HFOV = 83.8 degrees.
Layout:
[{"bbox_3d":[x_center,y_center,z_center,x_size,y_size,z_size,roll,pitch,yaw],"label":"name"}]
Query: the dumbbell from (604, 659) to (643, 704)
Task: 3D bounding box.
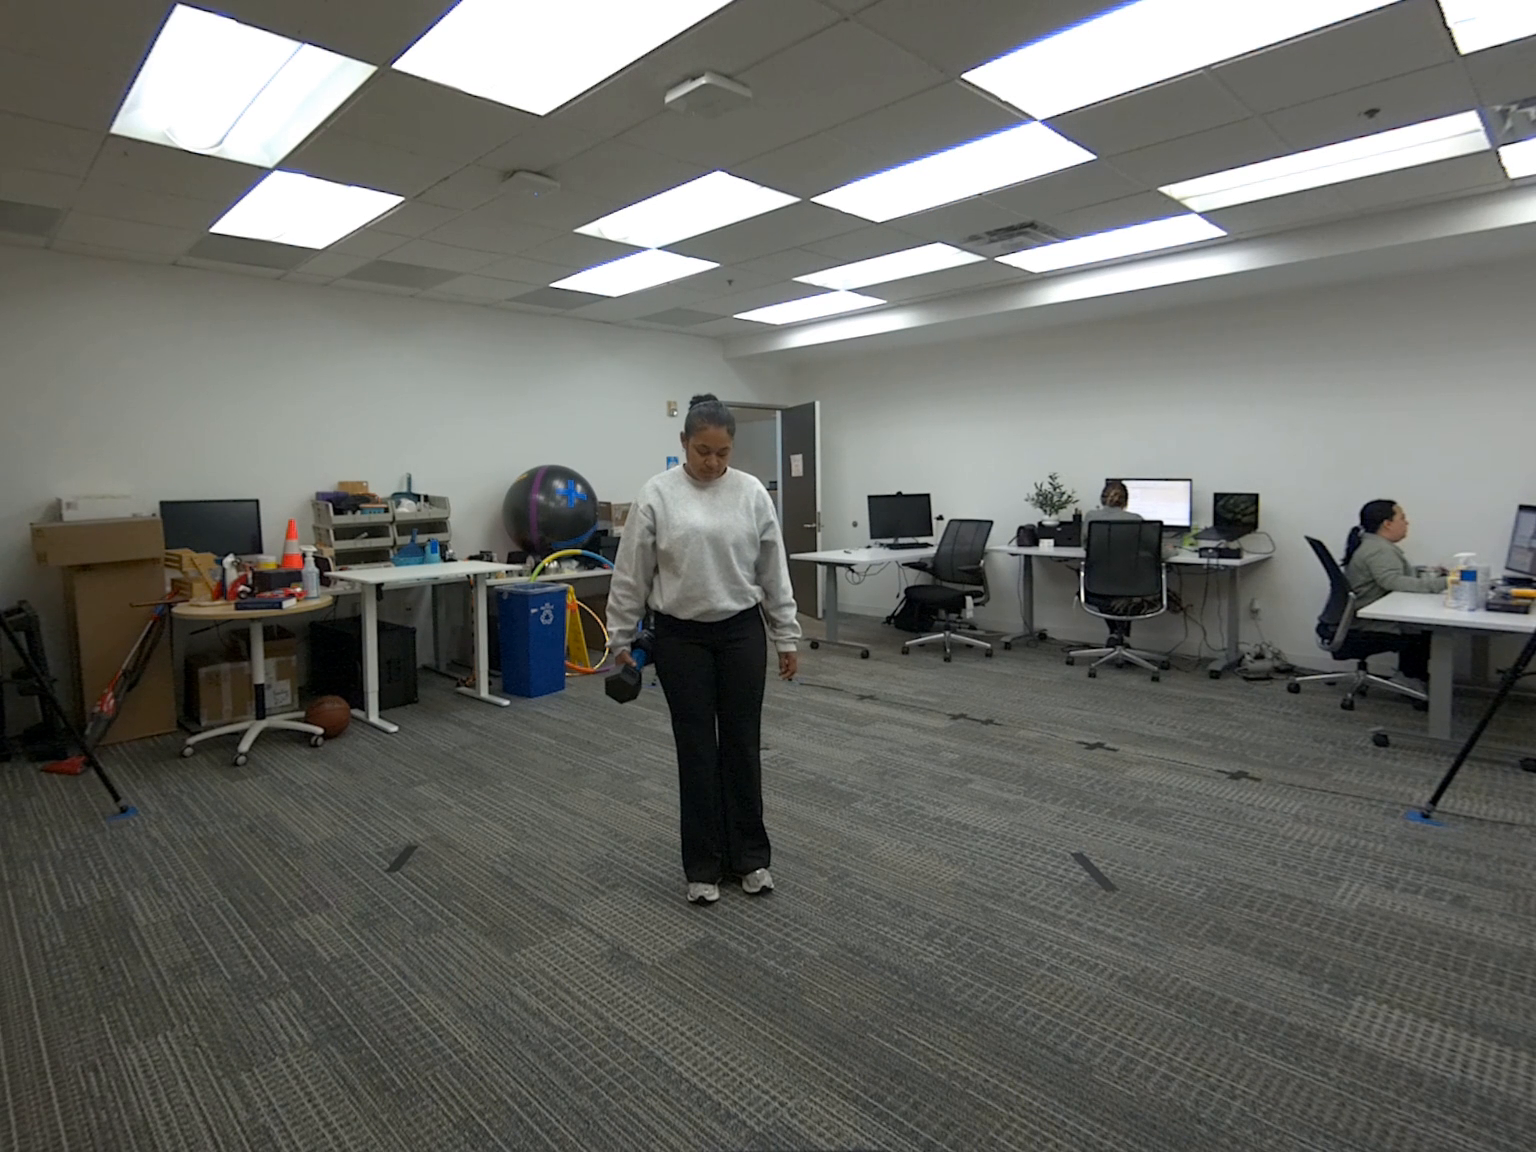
[{"bbox_3d":[-0.442,0.302,2.855,0.110,0.120,0.296,6,25,10],"label":"dumbbell"}]
